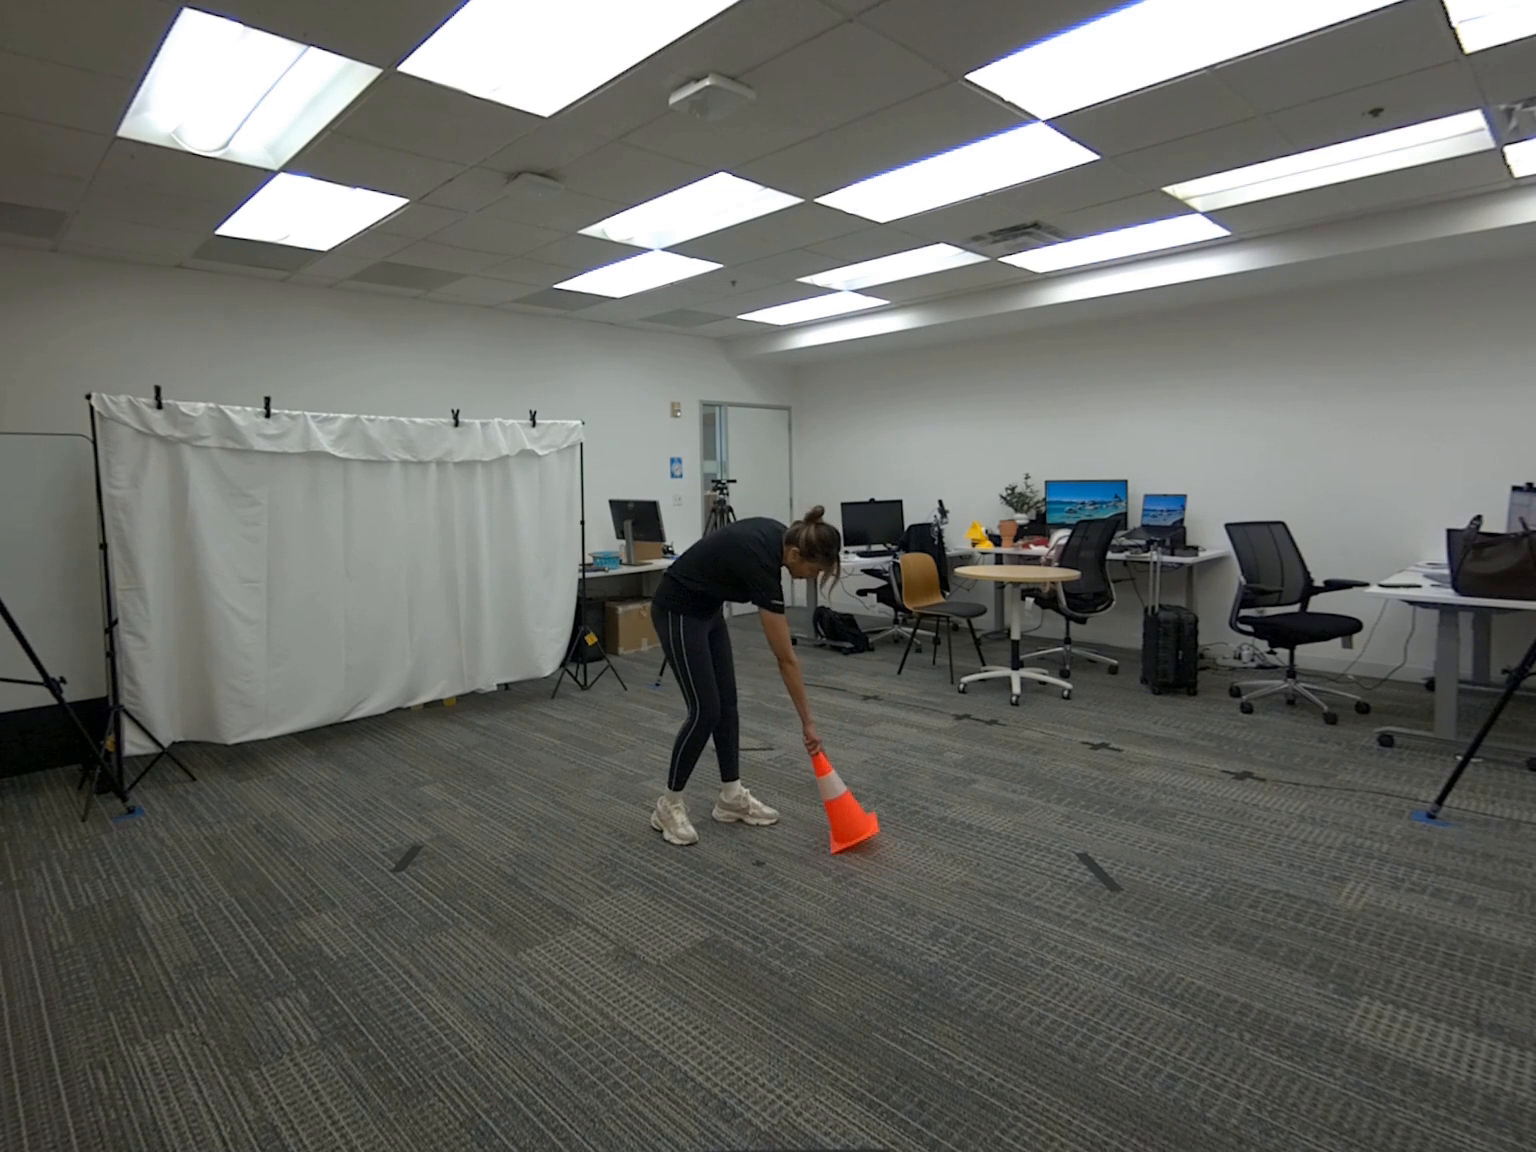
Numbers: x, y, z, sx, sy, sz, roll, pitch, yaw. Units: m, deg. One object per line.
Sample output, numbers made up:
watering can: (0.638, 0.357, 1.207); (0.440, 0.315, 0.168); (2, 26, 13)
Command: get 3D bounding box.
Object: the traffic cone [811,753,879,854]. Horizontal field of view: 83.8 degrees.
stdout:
traffic cone: (0.239, 0.816, 3.265); (0.205, 0.384, 0.202); (-24, 0, 5)
